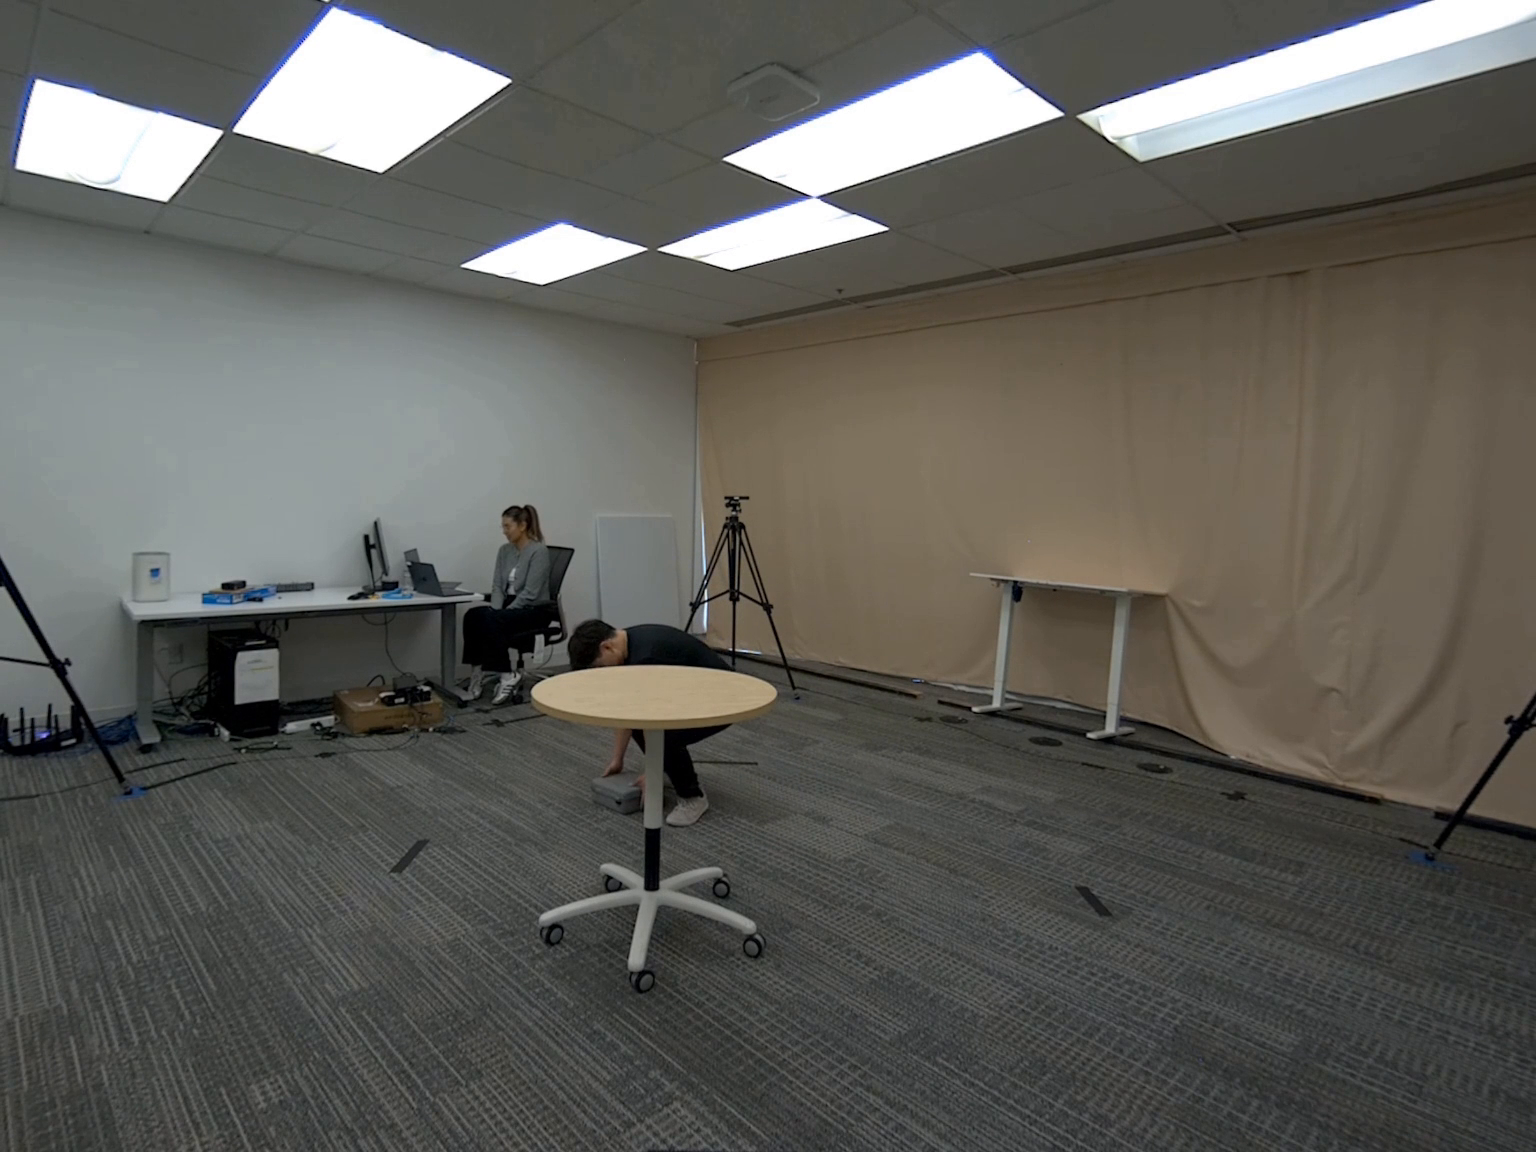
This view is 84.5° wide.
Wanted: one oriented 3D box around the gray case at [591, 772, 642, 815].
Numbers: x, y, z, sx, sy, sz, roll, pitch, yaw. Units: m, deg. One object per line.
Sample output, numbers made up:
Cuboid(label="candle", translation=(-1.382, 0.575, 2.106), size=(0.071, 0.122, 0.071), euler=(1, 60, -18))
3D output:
Cuboid(label="gray case", translation=(-0.652, 0.978, 3.829), size=(0.263, 0.104, 0.255), euler=(4, 4, 42))
